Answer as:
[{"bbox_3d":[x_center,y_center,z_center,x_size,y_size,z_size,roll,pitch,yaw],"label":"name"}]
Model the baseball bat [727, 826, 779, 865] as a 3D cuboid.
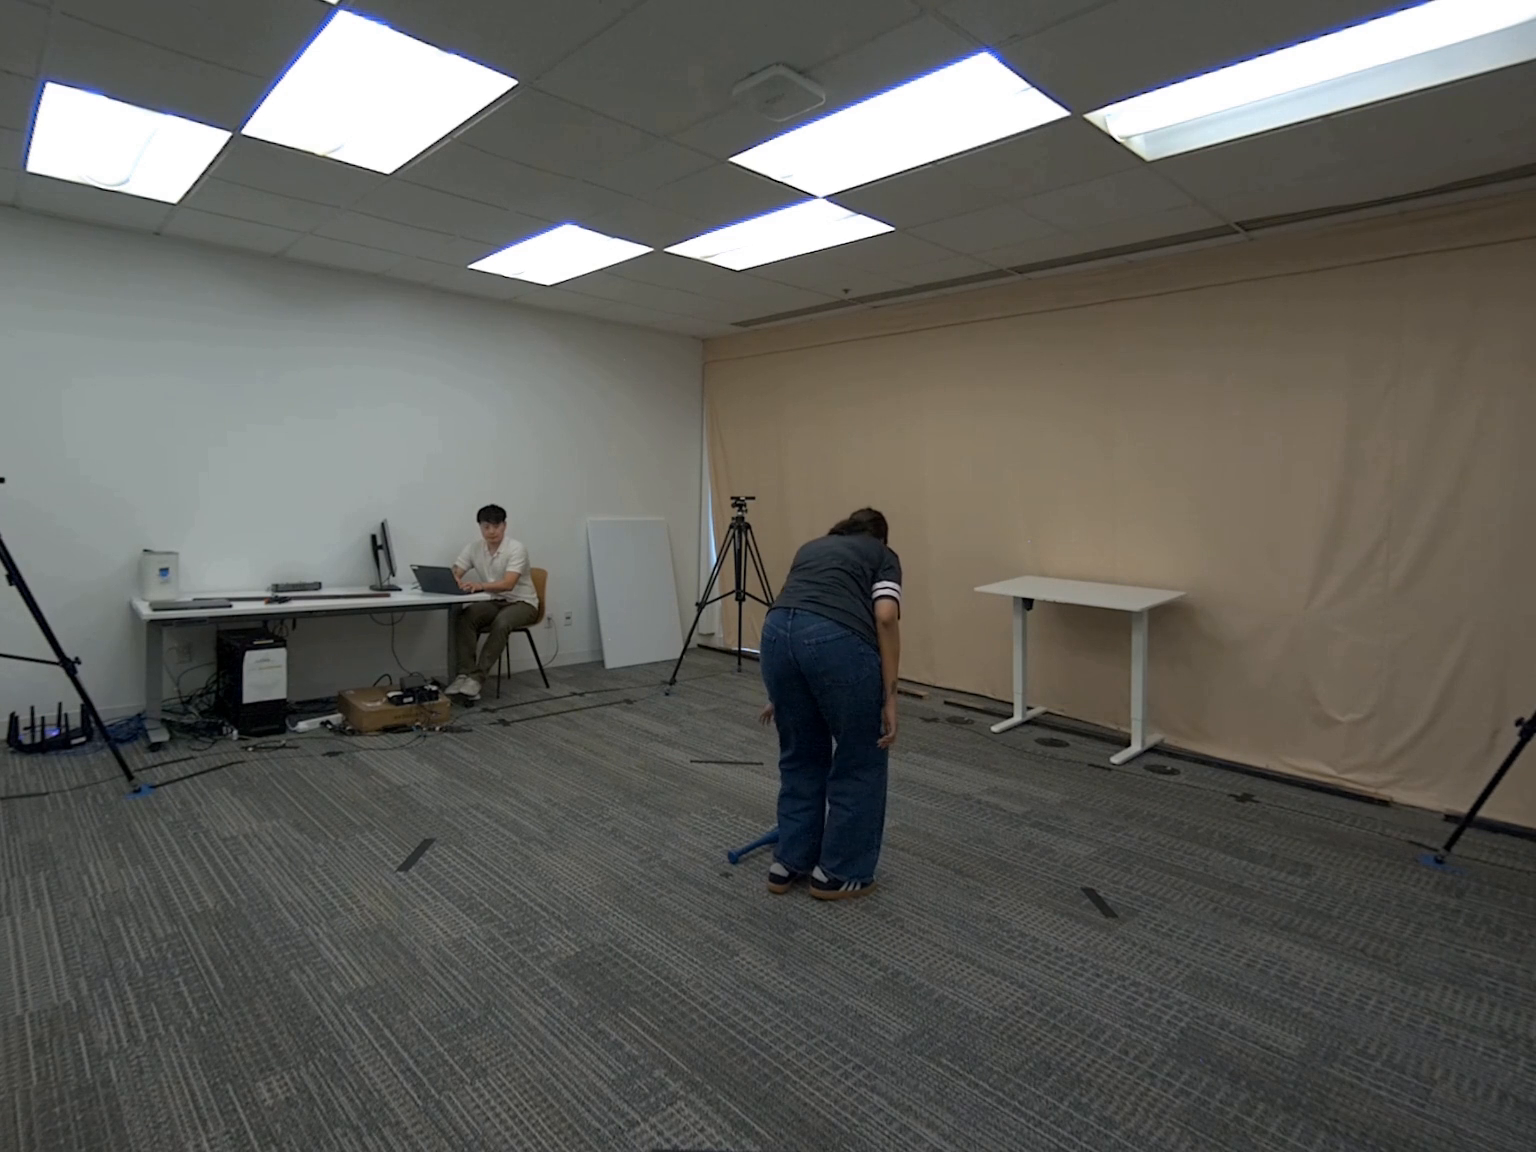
[{"bbox_3d":[0.039,1.045,3.388,0.091,0.088,0.532,5,9,44],"label":"baseball bat"}]
